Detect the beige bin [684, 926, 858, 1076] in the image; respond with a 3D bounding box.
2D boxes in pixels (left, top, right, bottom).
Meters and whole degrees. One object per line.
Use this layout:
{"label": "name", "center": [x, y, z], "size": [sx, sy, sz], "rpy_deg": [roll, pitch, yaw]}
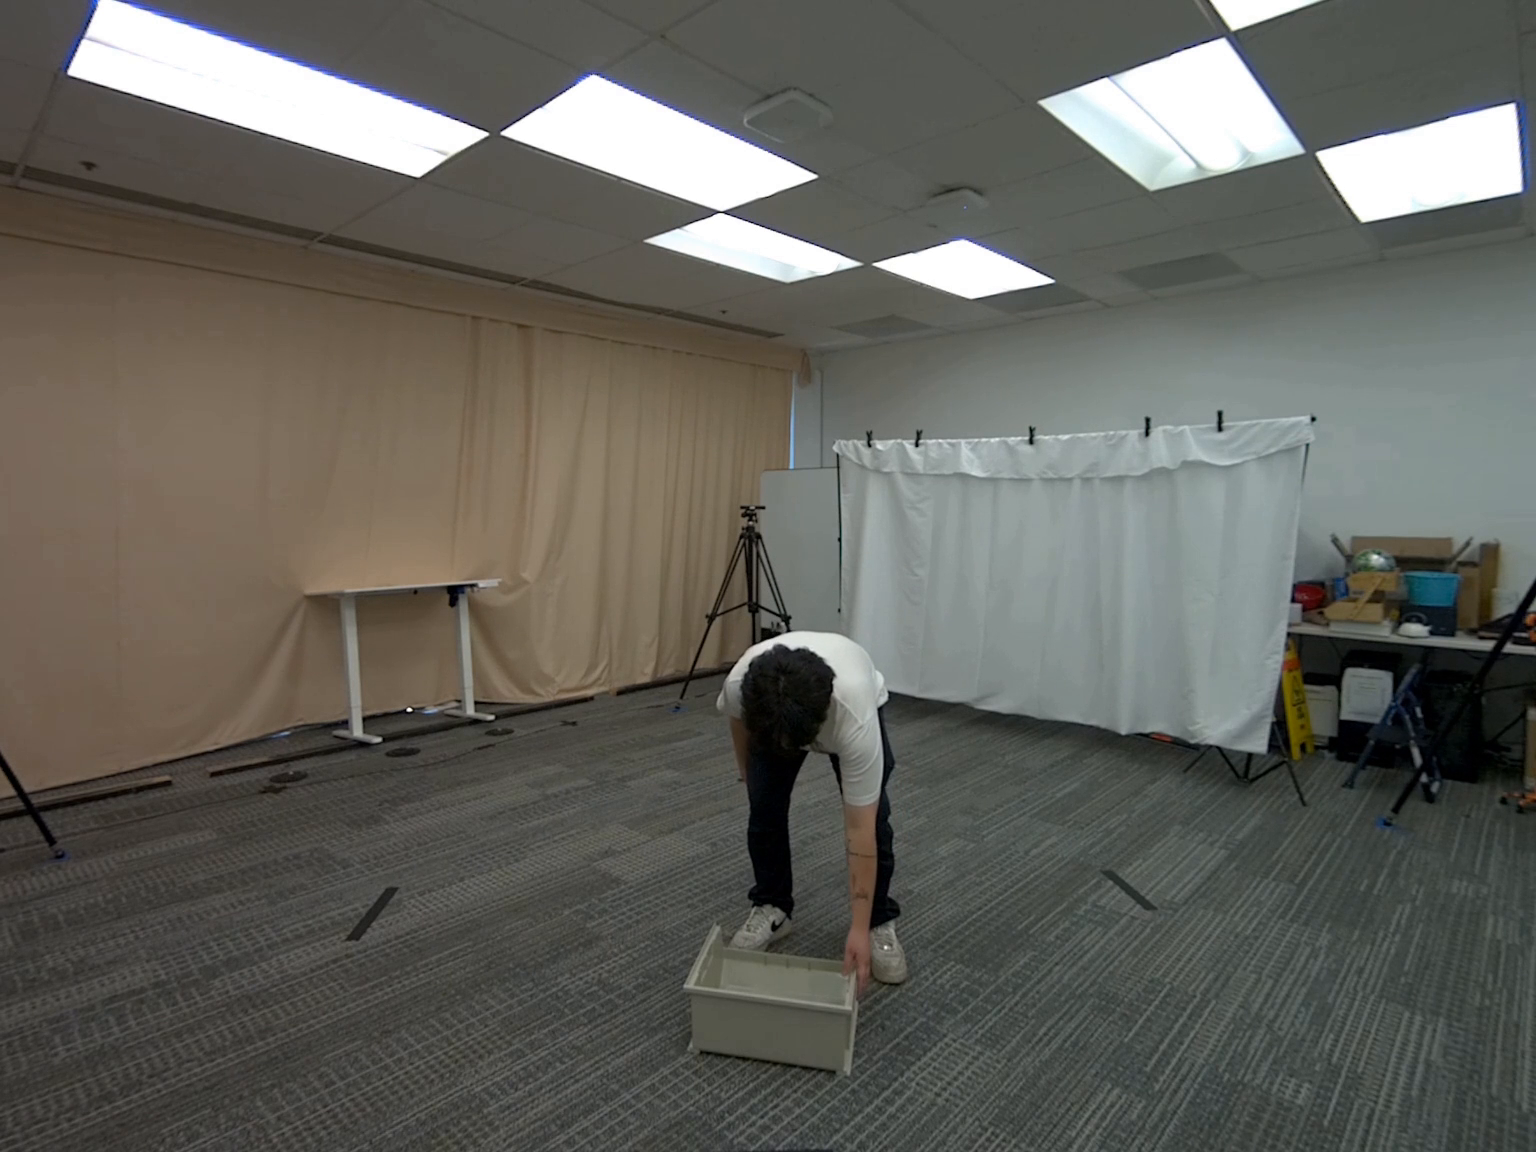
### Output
{"label": "beige bin", "center": [0.027, 1.114, 2.265], "size": [0.428, 0.188, 0.373], "rpy_deg": [1, 5, 11]}
